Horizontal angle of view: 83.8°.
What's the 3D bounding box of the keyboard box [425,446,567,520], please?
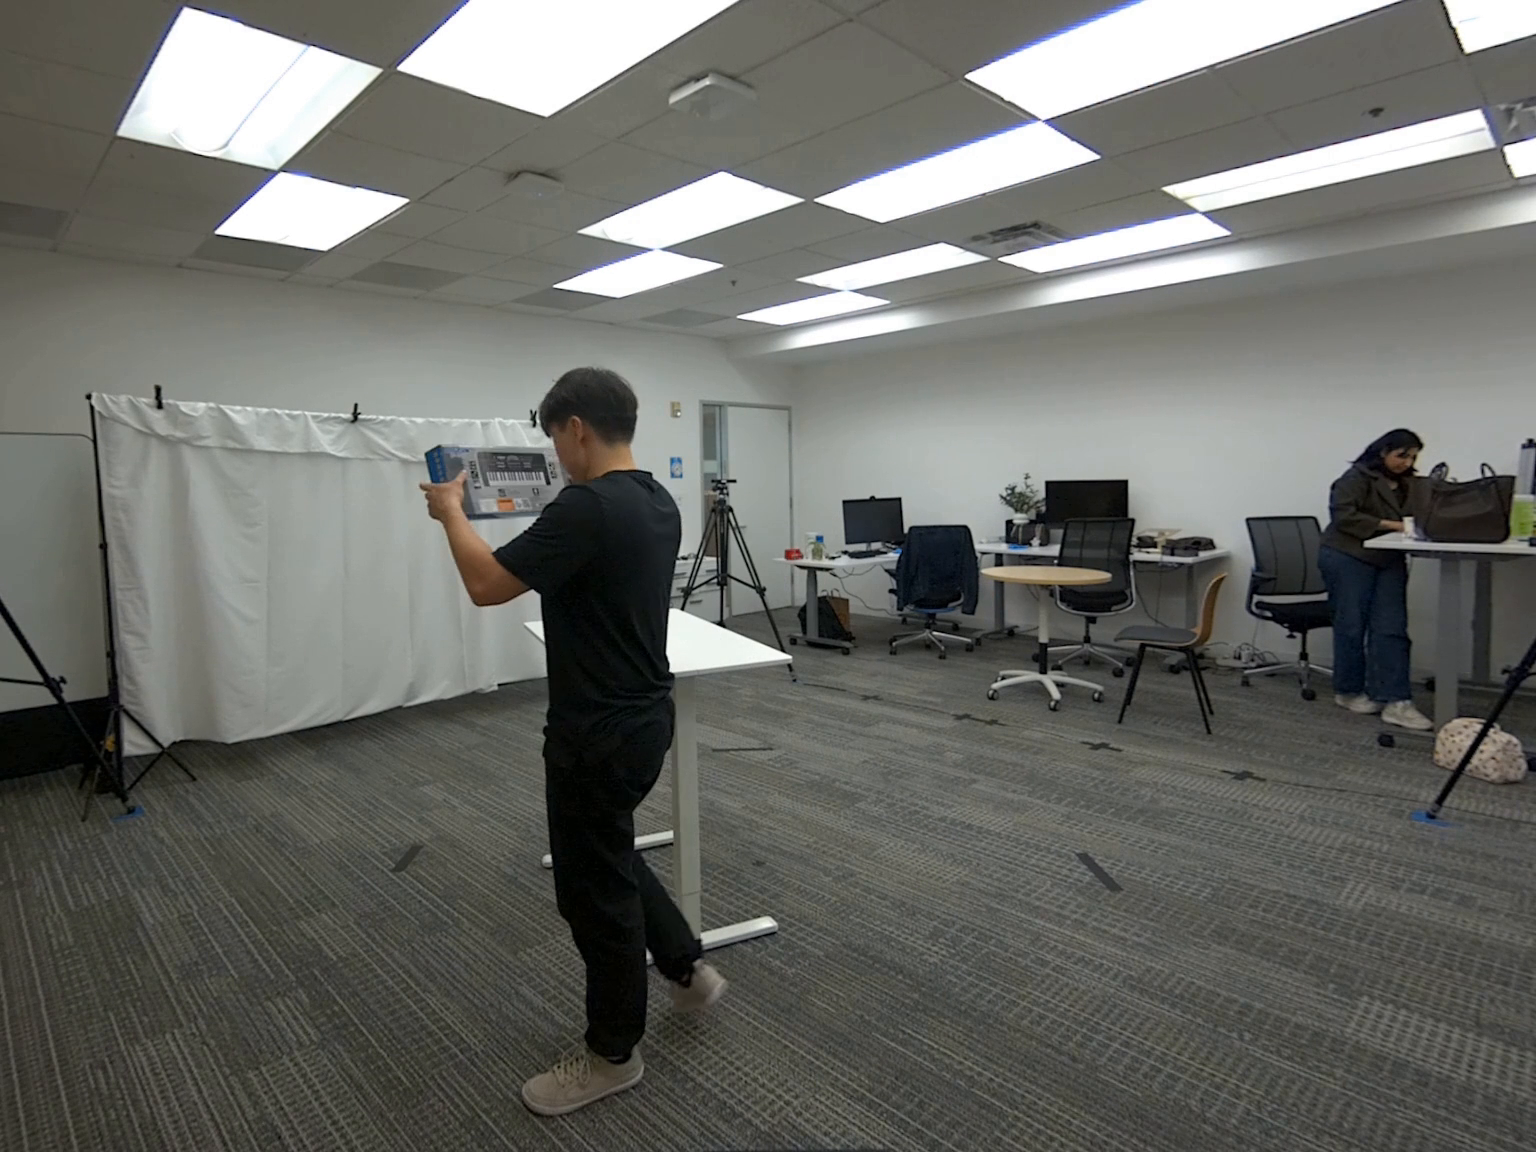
[{"bbox_3d":[-0.639,-0.229,2.132,0.060,0.177,0.428,-17,-3,30],"label":"keyboard box"}]
